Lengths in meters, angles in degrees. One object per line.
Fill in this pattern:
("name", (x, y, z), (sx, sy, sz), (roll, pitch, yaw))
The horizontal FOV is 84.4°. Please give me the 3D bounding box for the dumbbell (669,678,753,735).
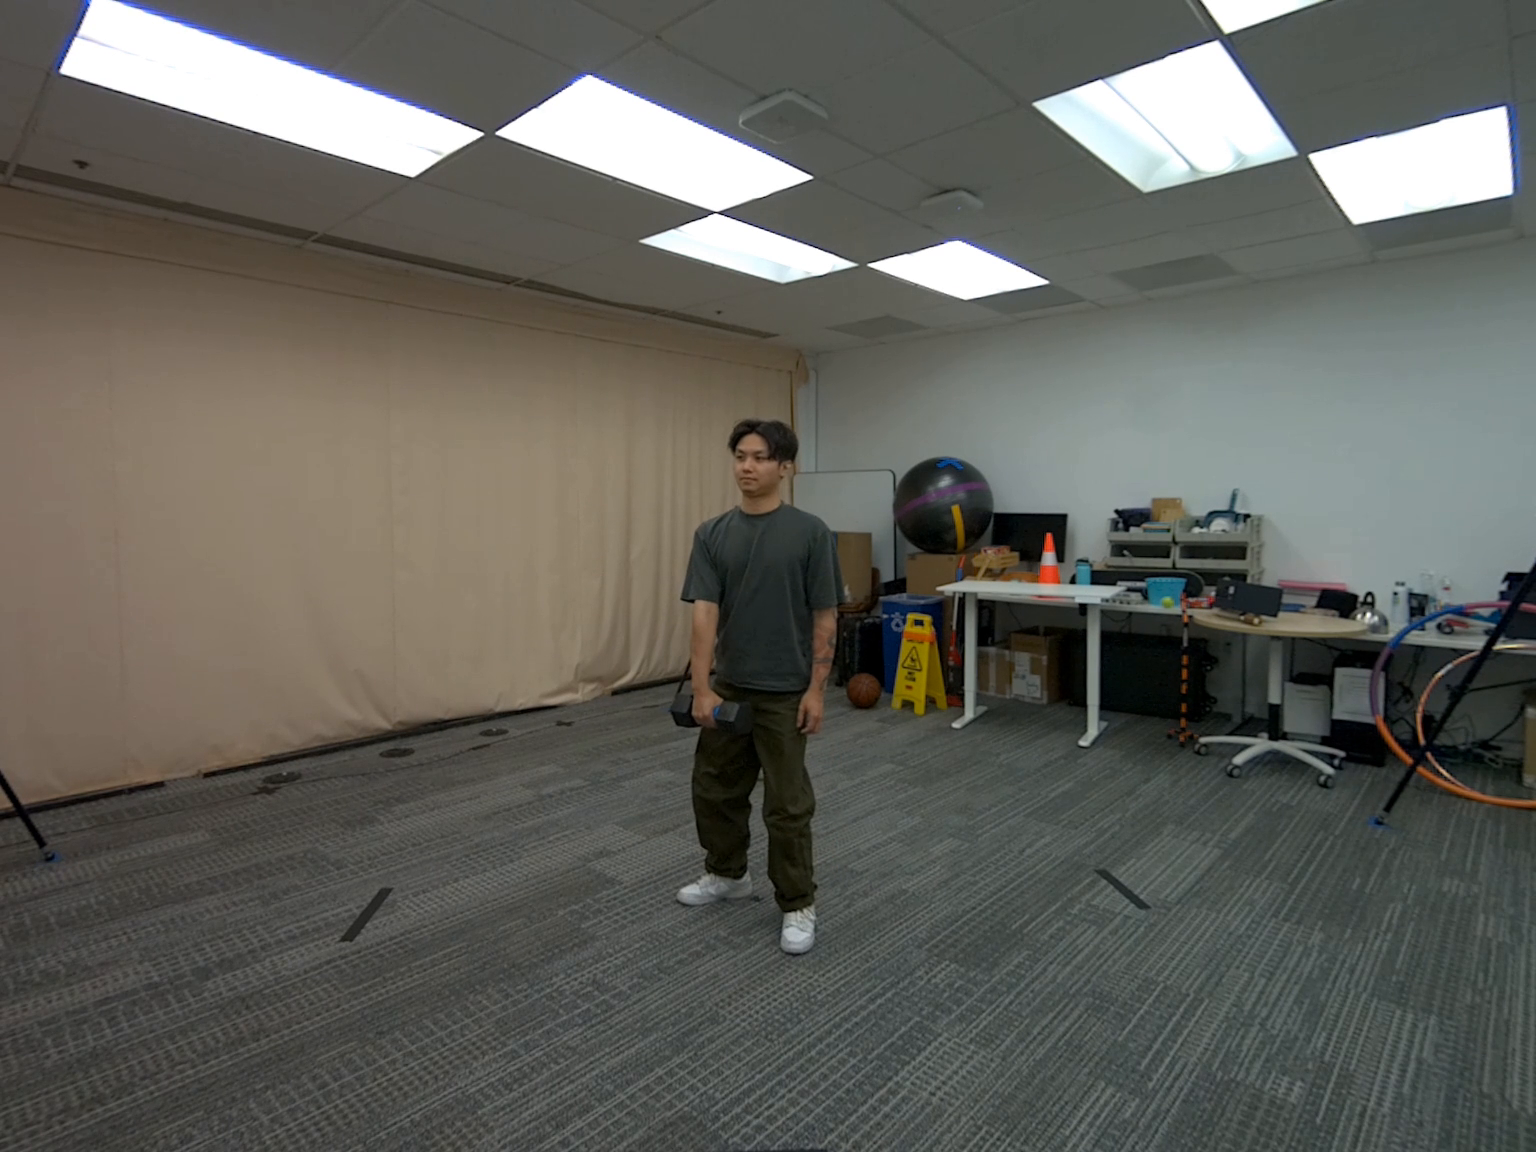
("dumbbell", (-0.173, 0.449, 2.706), (0.303, 0.120, 0.107), (1, 30, 43))
